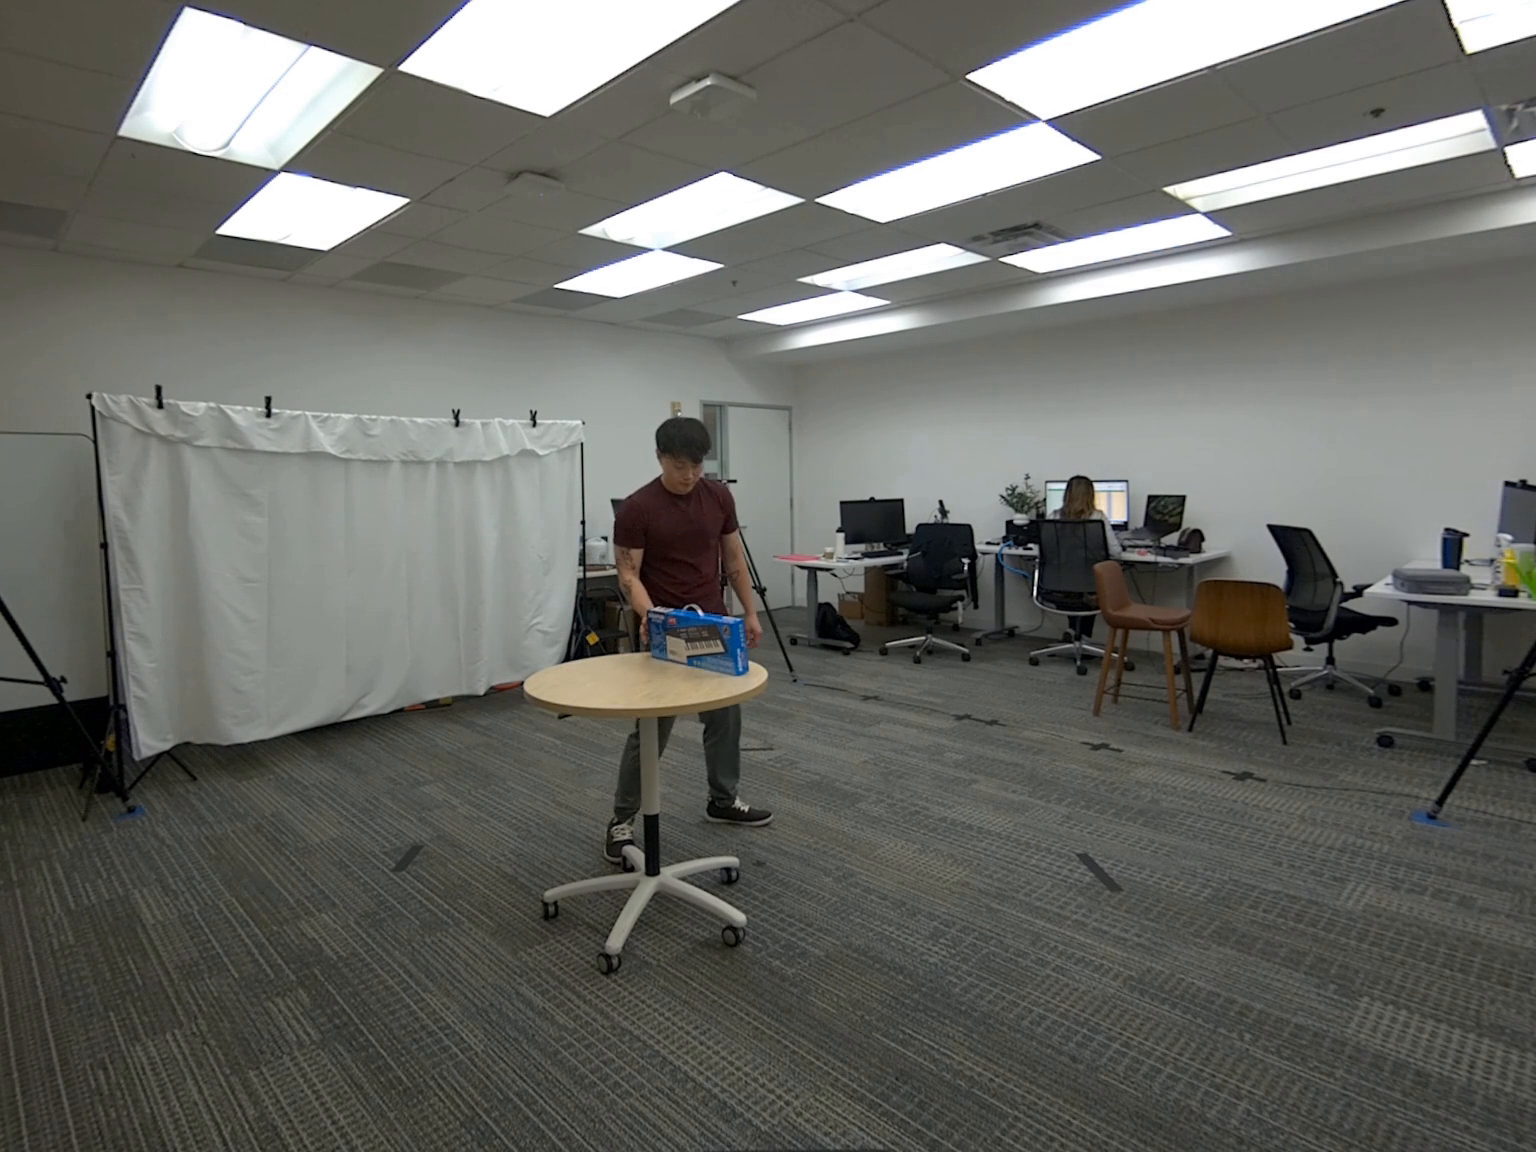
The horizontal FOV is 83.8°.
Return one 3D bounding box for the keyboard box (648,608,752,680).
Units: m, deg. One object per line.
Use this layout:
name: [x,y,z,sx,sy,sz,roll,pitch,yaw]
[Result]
keyboard box: [-0.235,0.217,2.836,0.058,0.174,0.450,-12,11,-42]
